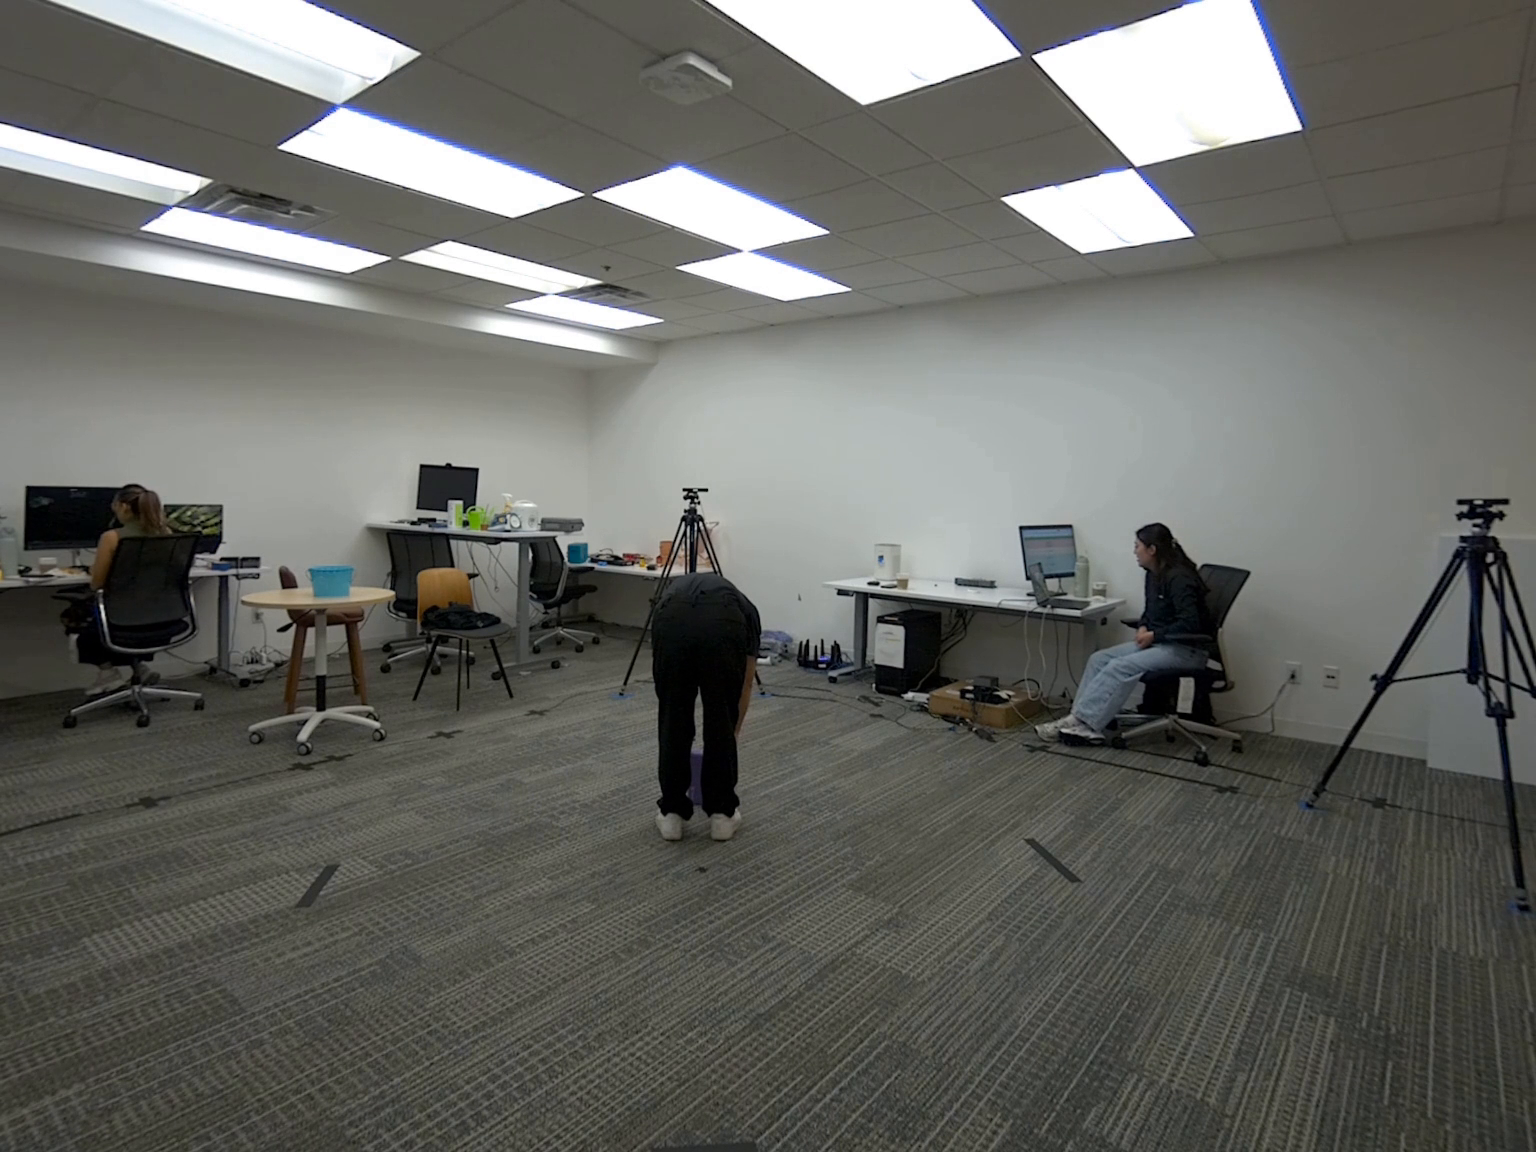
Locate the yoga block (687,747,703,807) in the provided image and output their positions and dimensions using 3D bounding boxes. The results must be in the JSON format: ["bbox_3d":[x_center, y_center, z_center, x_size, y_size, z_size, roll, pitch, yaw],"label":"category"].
[{"bbox_3d":[-0.285,0.884,3.759,0.150,0.229,0.076,2,3,4],"label":"yoga block"}]
